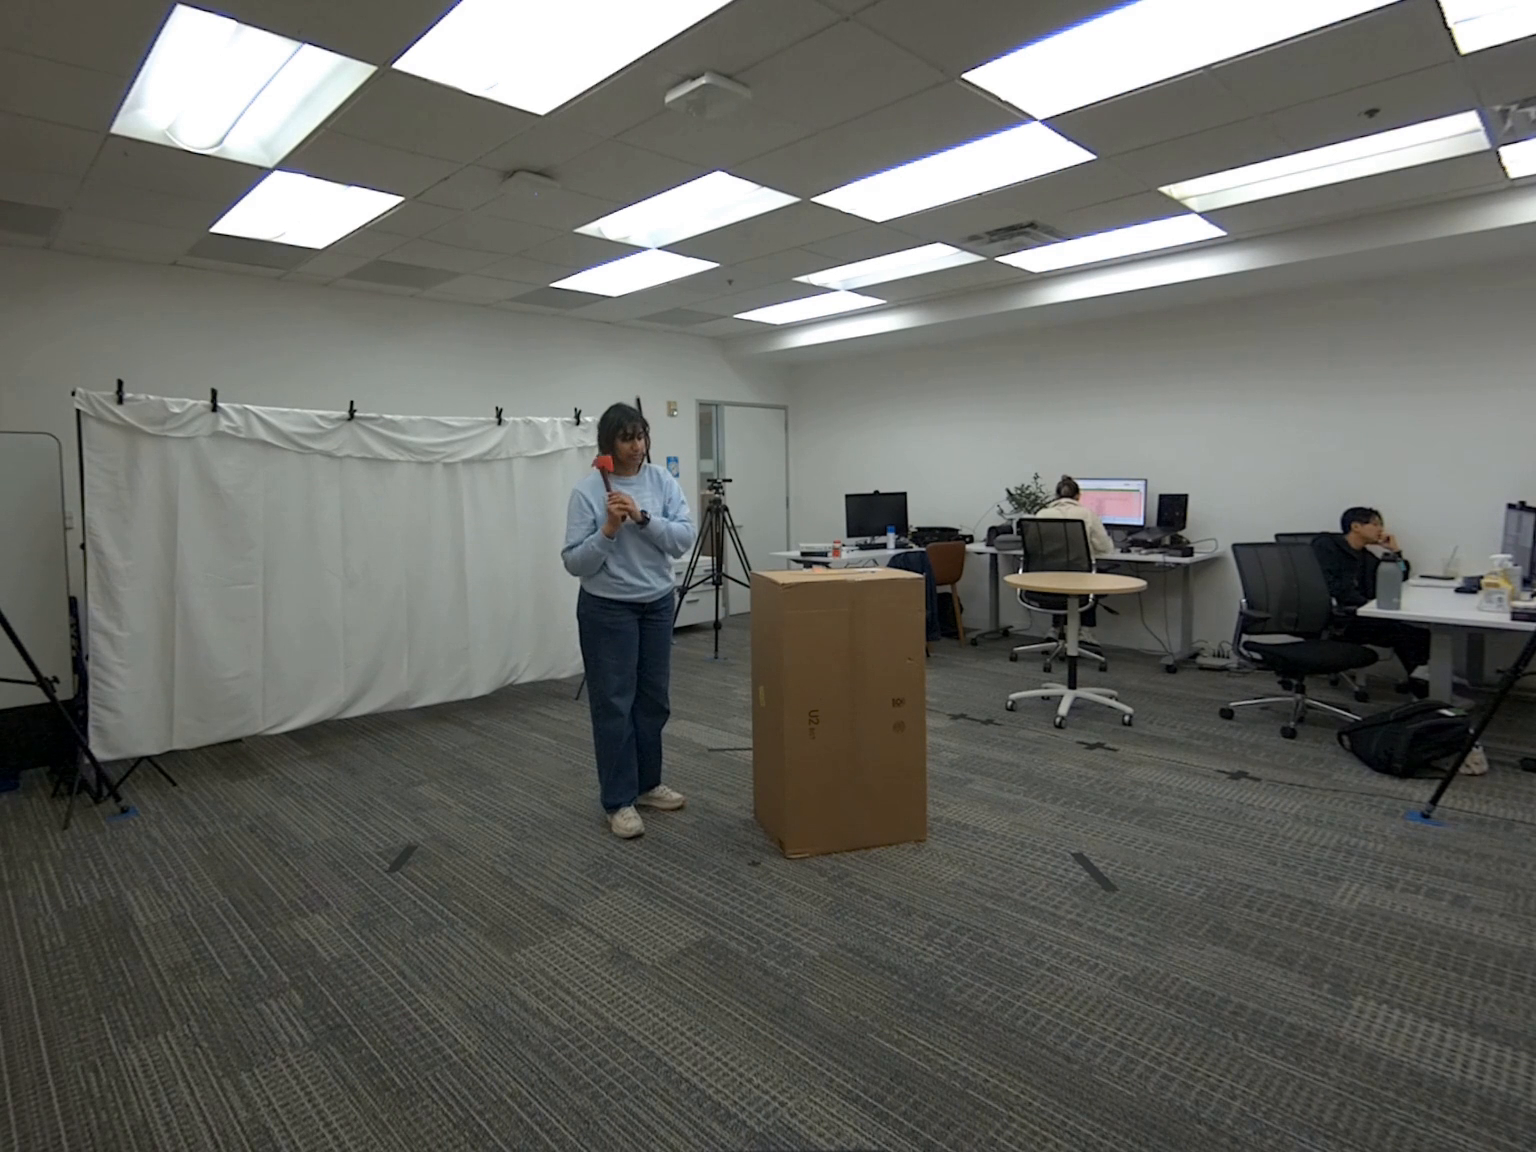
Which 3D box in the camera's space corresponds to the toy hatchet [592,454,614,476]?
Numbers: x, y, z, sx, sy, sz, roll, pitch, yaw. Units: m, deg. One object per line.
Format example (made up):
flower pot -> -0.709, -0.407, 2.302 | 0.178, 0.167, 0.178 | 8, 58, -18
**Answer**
toy hatchet -> -0.594, -0.348, 3.245 | 0.029, 0.275, 0.131 | -16, -20, -42
